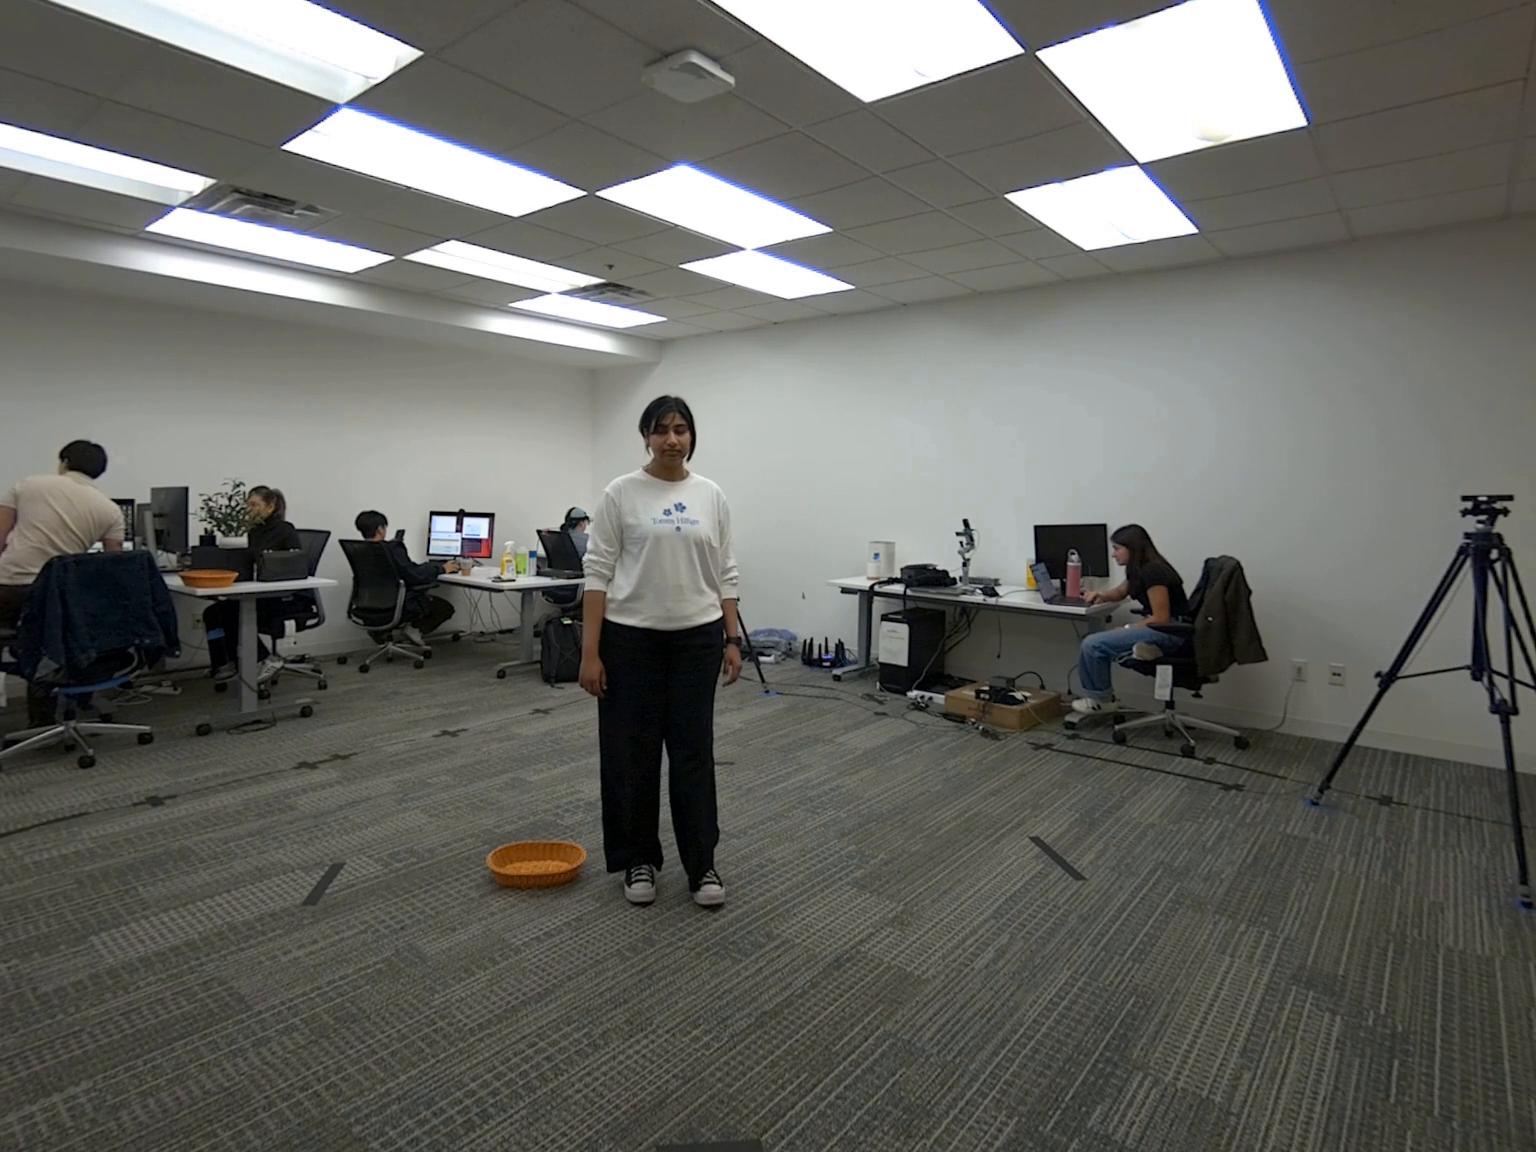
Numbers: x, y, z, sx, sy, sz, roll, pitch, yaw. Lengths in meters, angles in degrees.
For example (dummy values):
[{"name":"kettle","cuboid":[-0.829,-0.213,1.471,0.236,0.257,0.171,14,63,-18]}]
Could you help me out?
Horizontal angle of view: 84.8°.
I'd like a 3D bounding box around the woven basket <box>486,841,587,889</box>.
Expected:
[{"name":"woven basket","cuboid":[-0.823,1.024,3.027,0.349,0.073,0.255,1,7,-3]}]
